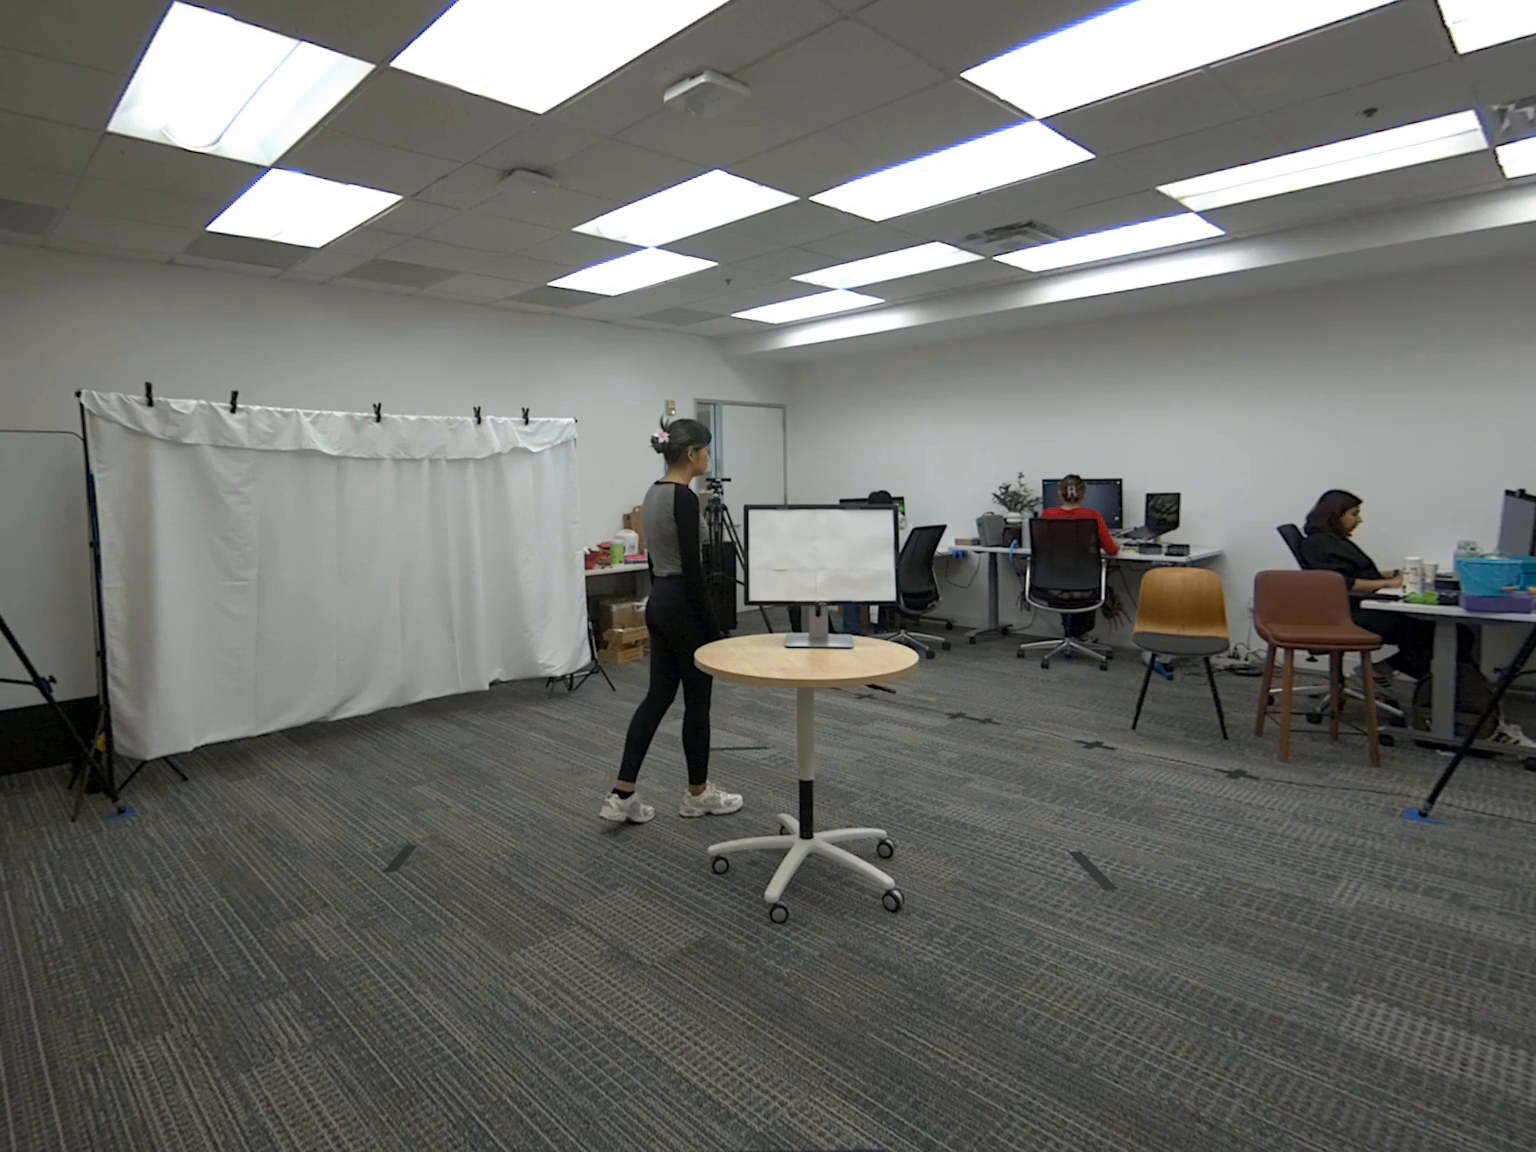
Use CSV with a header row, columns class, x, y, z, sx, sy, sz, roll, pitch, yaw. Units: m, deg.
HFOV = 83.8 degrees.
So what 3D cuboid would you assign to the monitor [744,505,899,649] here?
class,x,y,z,sx,sy,sz,roll,pitch,yaw
monitor,0.187,-0.002,3.110,0.537,0.520,0.189,0,5,-4
